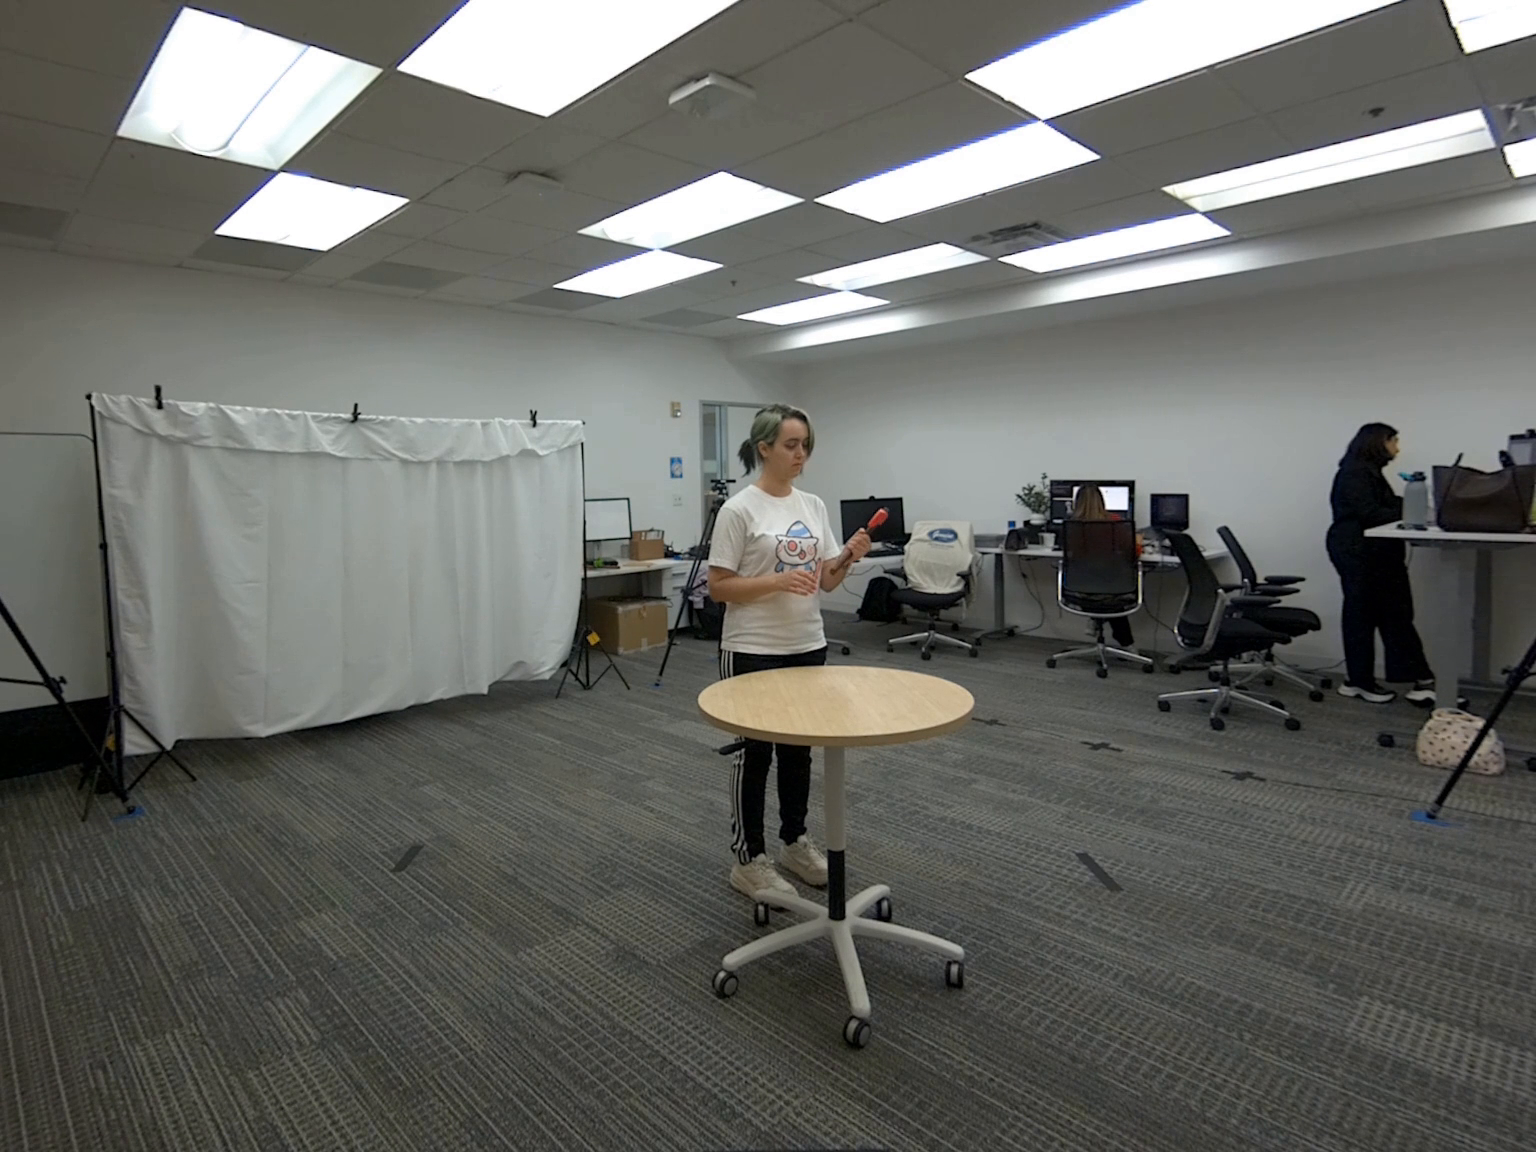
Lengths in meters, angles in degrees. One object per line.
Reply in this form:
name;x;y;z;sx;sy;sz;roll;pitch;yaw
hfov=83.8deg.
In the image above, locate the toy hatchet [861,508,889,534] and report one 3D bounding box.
toy hatchet;0.289;-0.119;2.706;0.030;0.270;0.129;42;-13;8
